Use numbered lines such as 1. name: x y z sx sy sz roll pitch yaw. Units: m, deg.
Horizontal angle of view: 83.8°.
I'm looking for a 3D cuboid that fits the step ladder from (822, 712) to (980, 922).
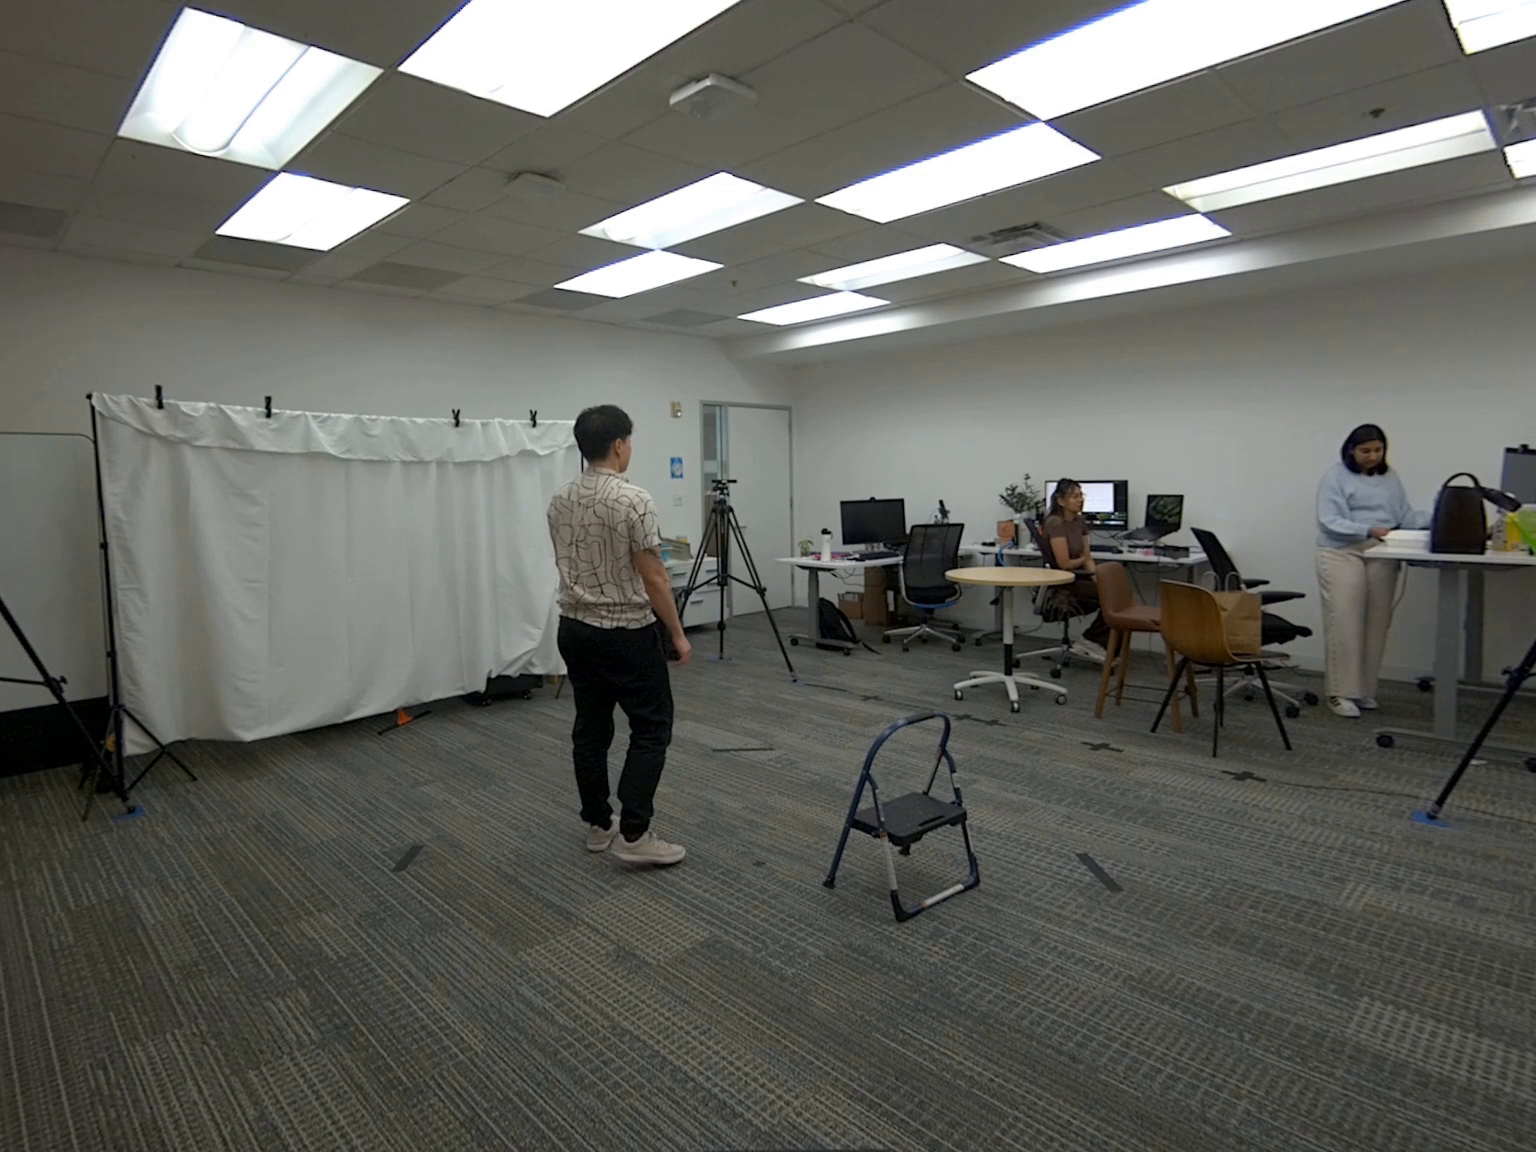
1. step ladder: 0.454 0.753 2.911 0.419 0.604 0.360 -4 5 -40
